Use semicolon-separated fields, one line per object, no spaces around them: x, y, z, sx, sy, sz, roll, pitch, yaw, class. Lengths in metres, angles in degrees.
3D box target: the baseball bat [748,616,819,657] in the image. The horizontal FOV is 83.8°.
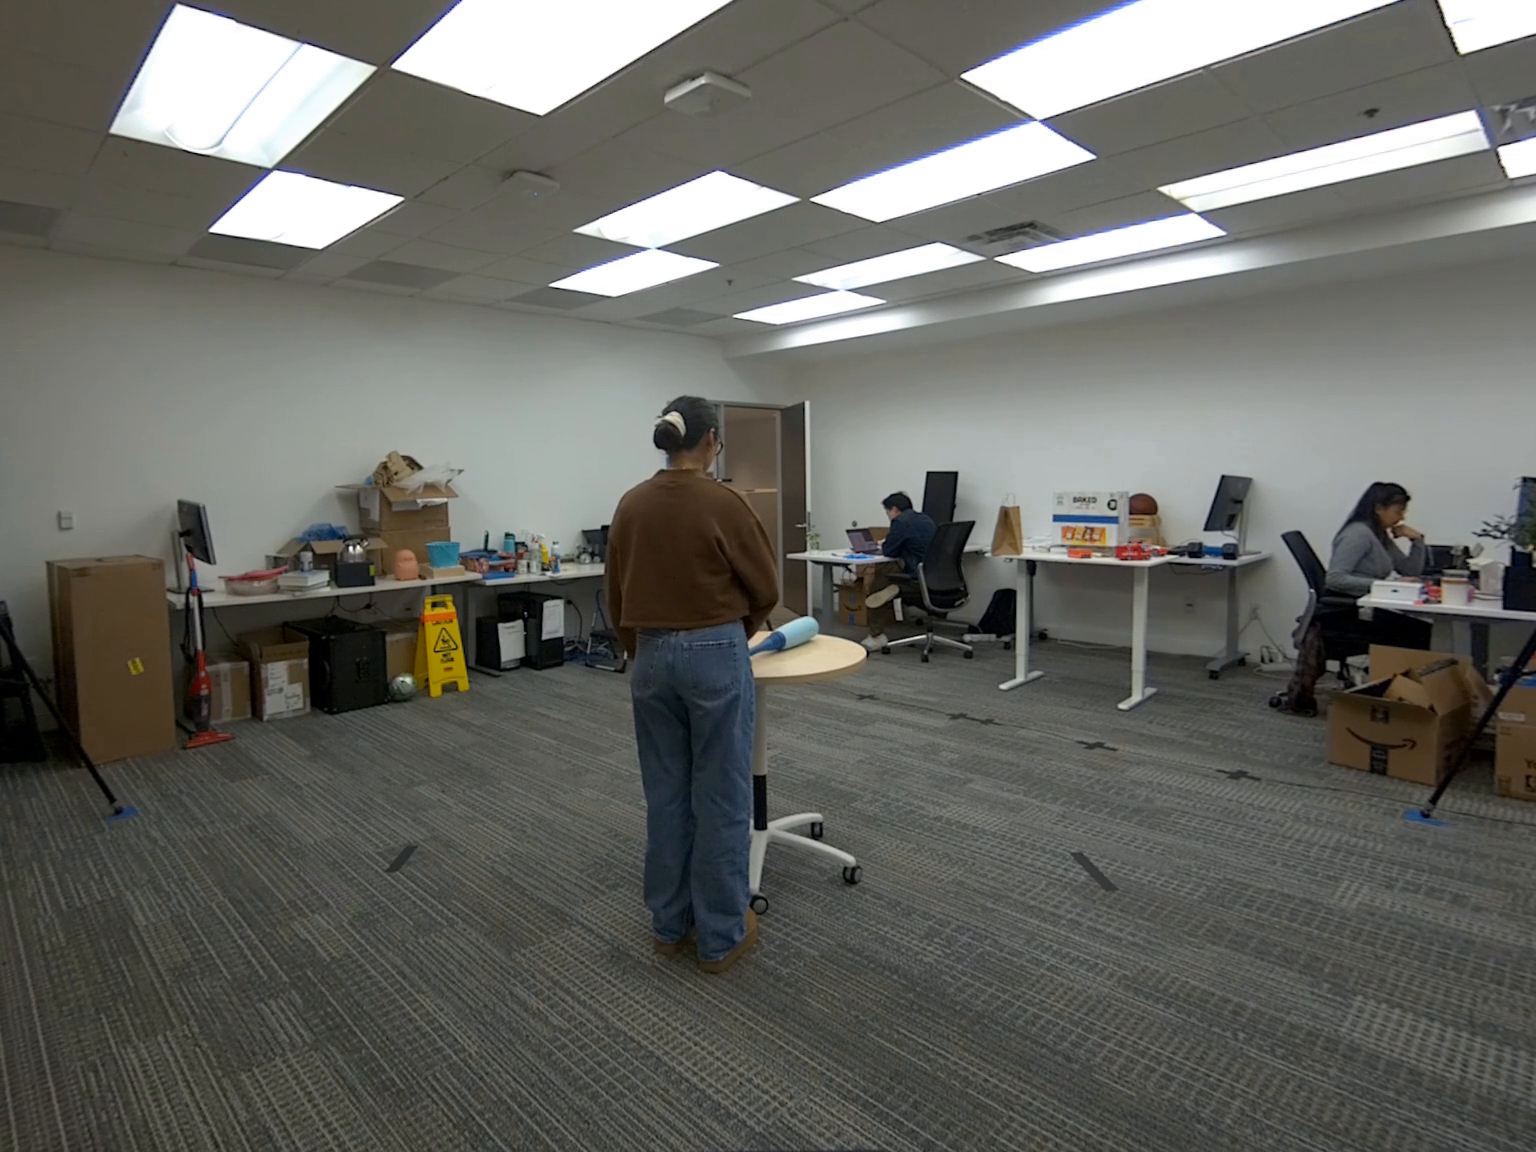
0.027;0.235;3.002;0.091;0.088;0.532;2;10;30;baseball bat
